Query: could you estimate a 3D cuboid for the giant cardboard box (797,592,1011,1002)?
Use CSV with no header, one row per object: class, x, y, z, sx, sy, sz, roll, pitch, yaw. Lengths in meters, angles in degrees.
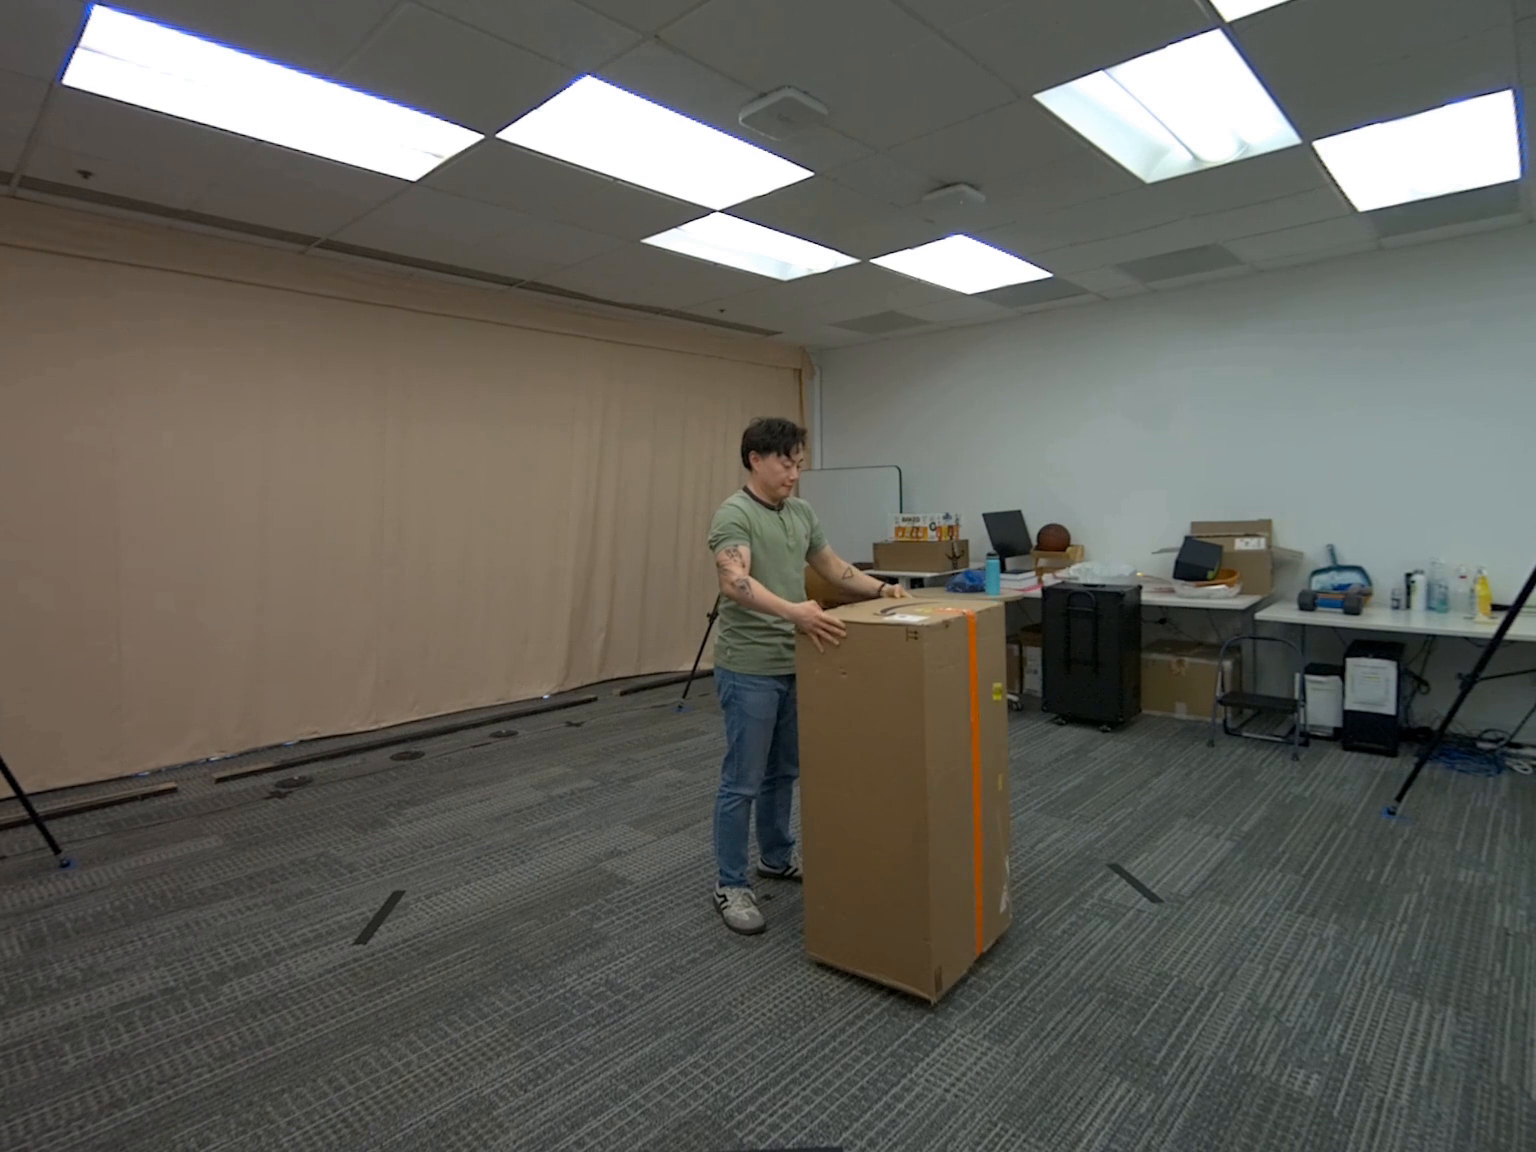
giant cardboard box,0.438,0.613,2.592,0.440,1.024,0.560,0,3,38
